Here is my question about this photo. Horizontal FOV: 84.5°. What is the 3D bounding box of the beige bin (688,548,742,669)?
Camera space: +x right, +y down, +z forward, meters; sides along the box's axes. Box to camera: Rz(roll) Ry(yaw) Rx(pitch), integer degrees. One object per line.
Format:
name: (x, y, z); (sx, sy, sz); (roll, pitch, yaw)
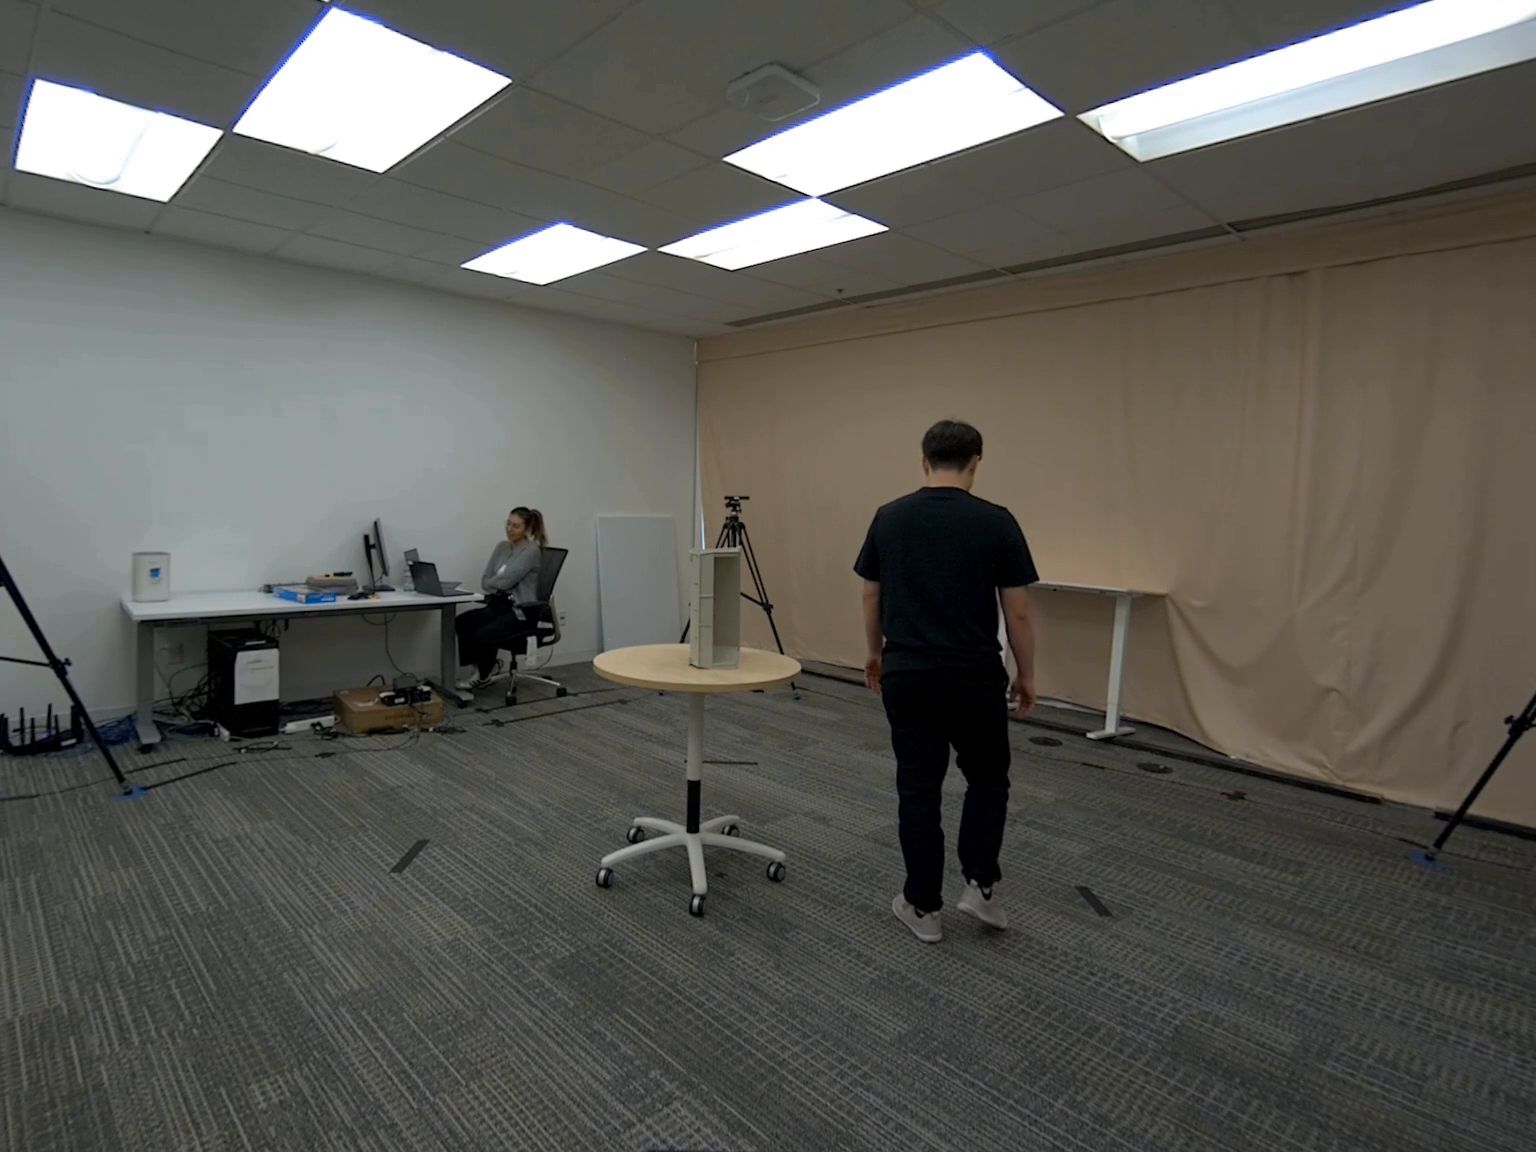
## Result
beige bin: (-0.194, 0.107, 3.156); (0.189, 0.421, 0.377); (1, 4, 2)
